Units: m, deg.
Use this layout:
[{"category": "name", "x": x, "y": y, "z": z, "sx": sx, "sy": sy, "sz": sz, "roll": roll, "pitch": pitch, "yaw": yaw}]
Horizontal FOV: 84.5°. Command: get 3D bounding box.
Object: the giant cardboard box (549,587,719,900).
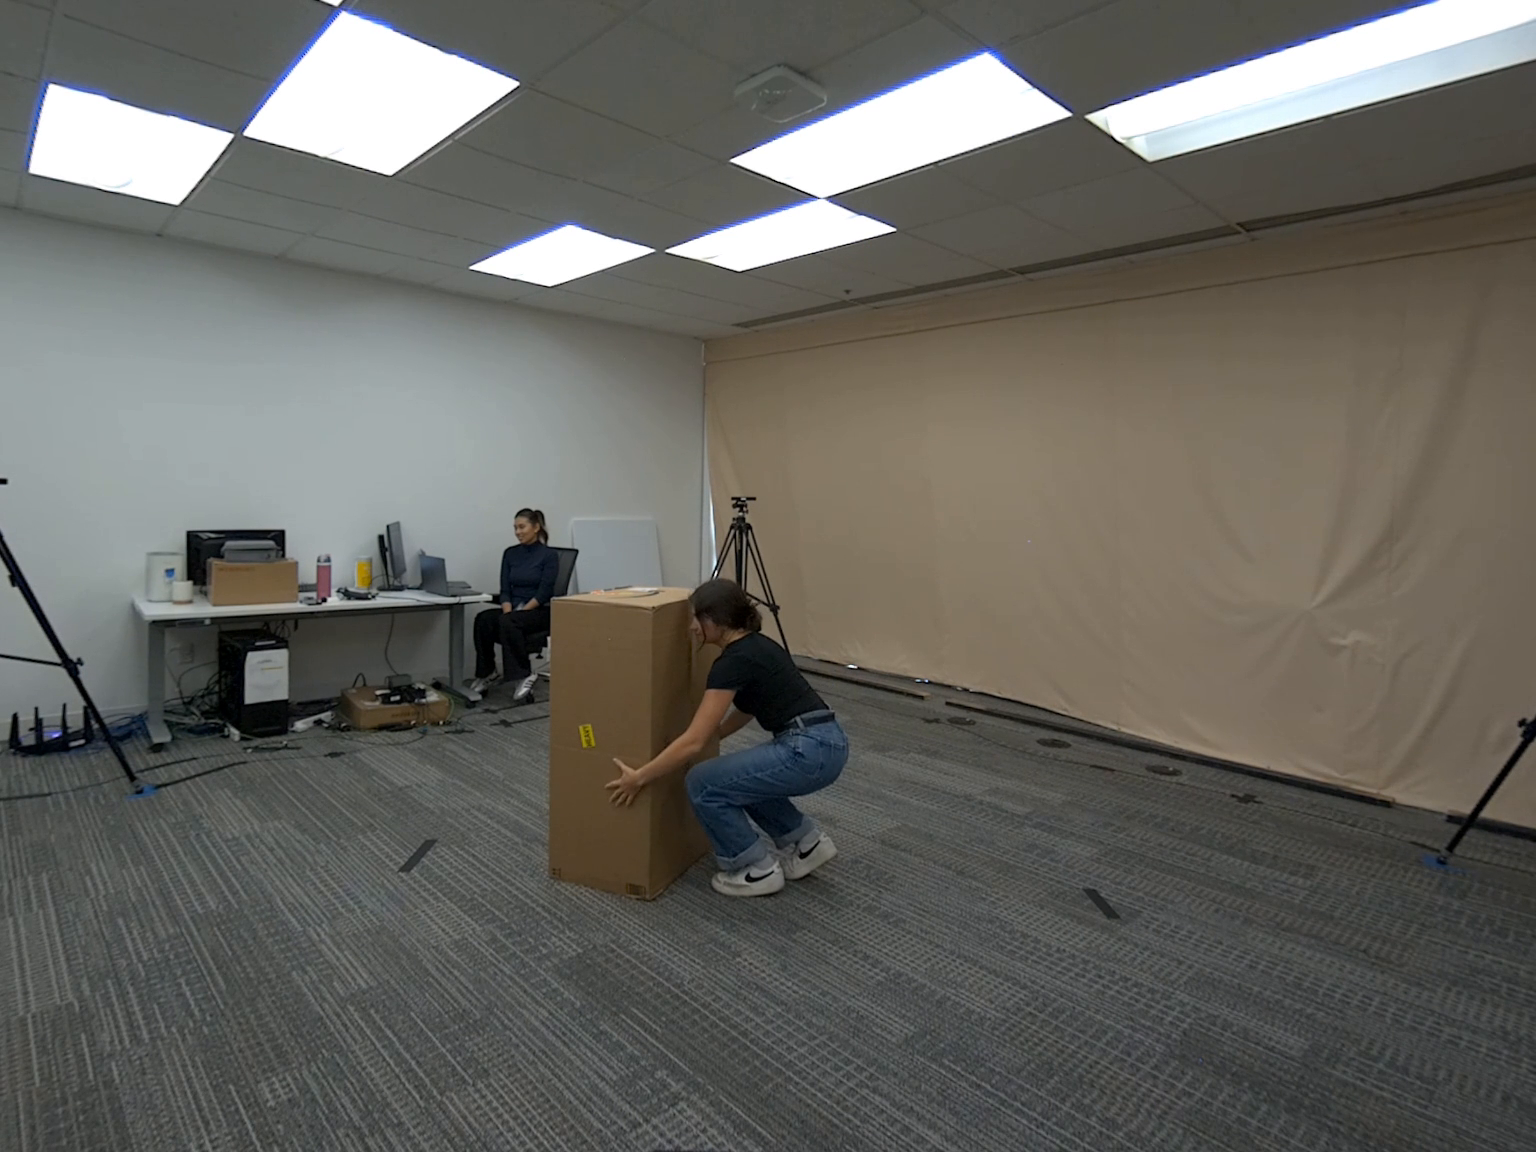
[{"category": "giant cardboard box", "x": -0.494, "y": 0.578, "z": 3.209, "sx": 0.434, "sy": 1.023, "sz": 0.568, "roll": 3, "pitch": 3, "yaw": 22}]
